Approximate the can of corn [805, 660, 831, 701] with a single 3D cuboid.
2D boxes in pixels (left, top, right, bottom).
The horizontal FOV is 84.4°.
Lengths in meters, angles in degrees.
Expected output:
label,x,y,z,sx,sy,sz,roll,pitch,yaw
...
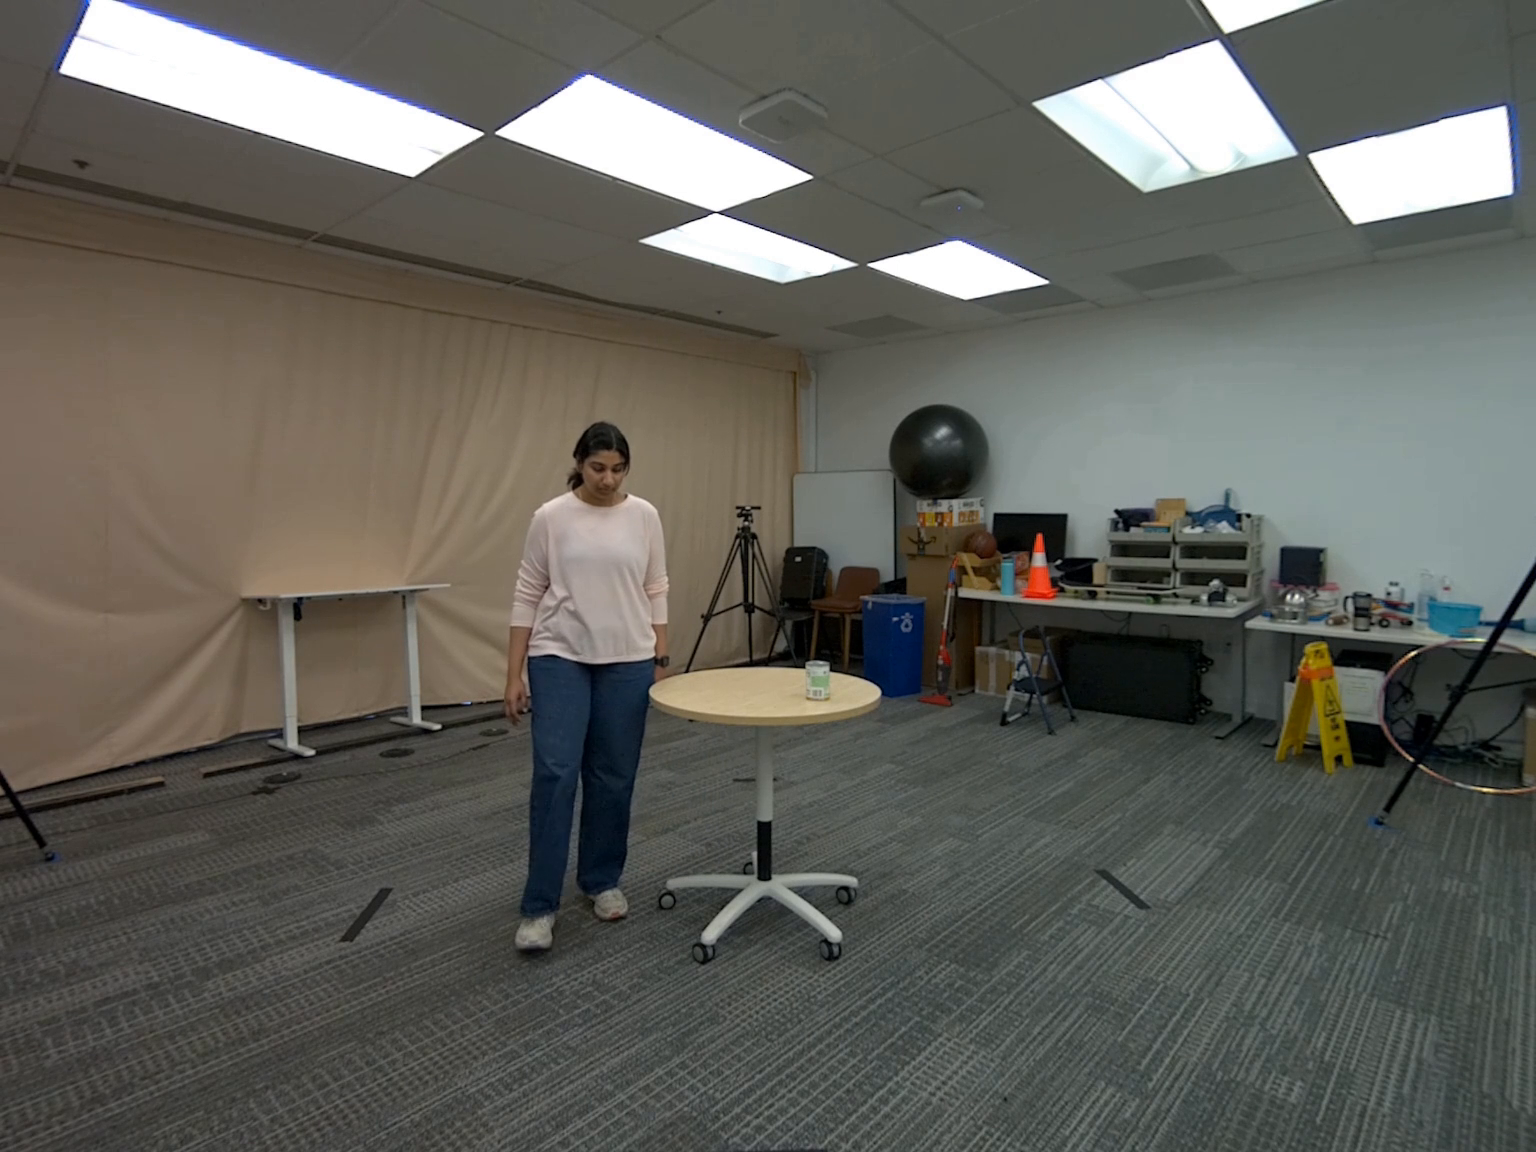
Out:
label,x,y,z,sx,sy,sz,roll,pitch,yaw
can of corn,0.167,0.332,2.638,0.074,0.111,0.074,-2,4,-2
